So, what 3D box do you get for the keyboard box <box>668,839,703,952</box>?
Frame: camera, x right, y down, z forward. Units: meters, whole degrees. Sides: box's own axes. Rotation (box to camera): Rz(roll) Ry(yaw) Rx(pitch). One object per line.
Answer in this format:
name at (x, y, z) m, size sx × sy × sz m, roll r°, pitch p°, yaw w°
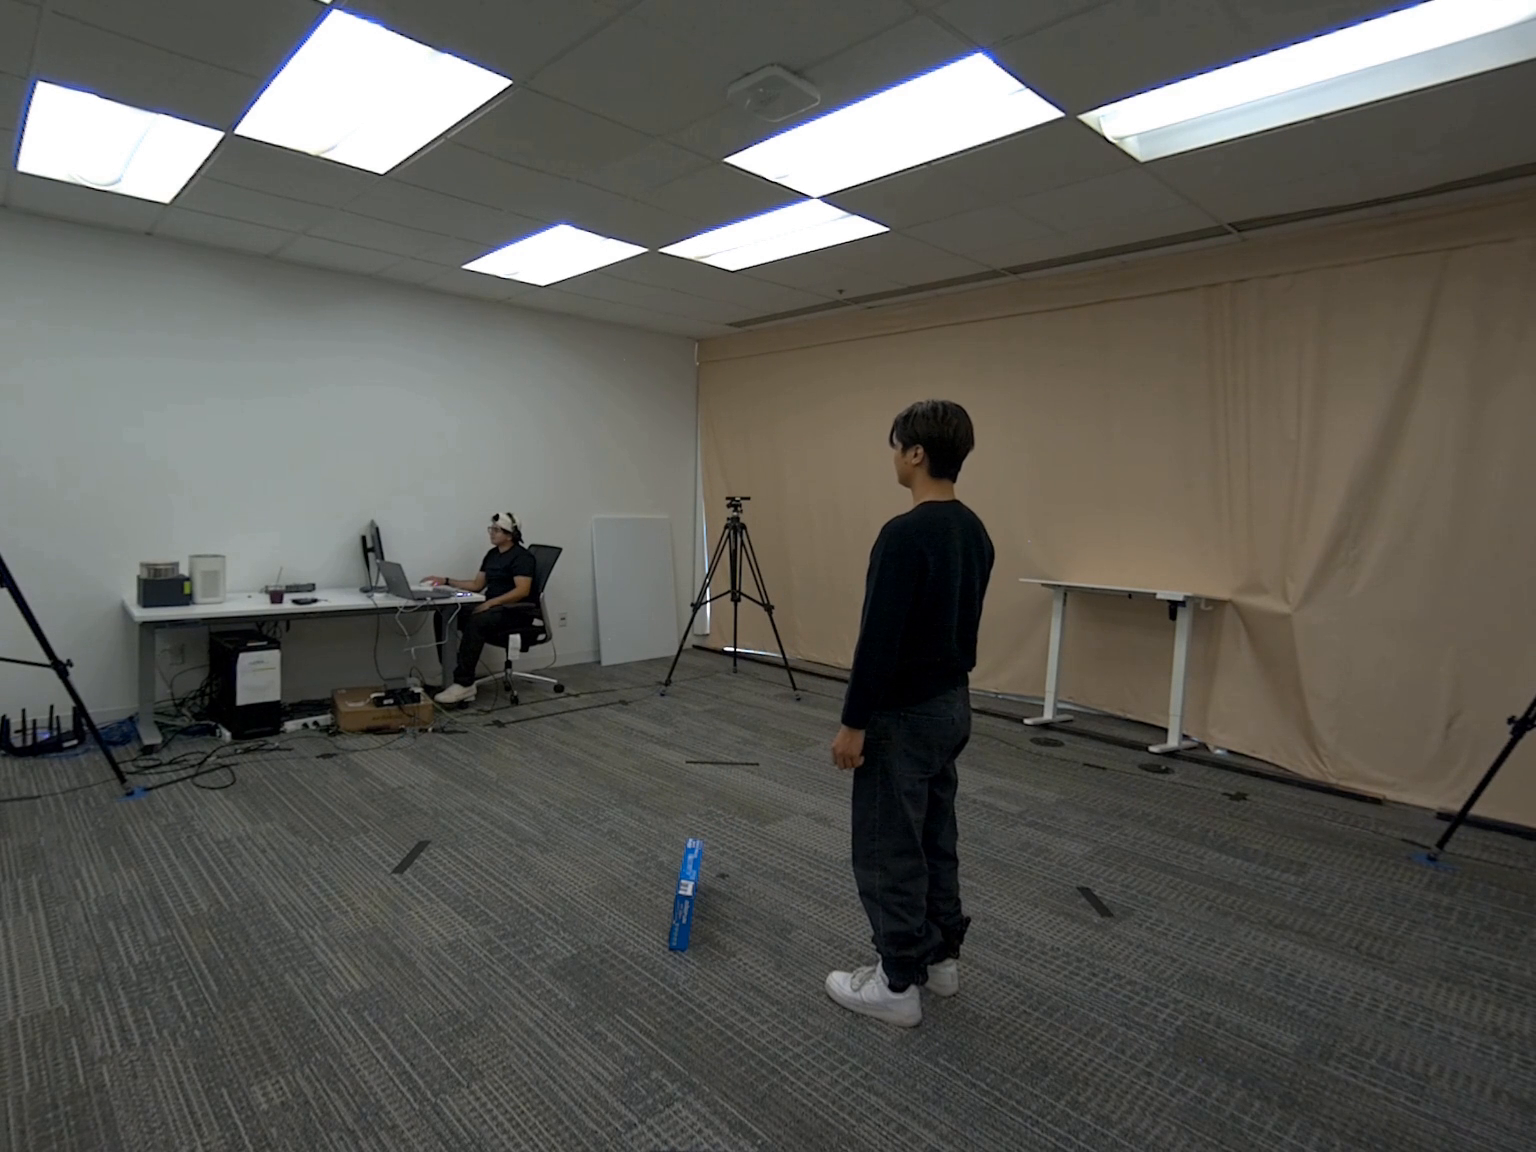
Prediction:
keyboard box at (-0.276, 1.045, 2.790) m, size 0.059 × 0.175 × 0.437 m, roll 7°, pitch 4°, yaw -1°
